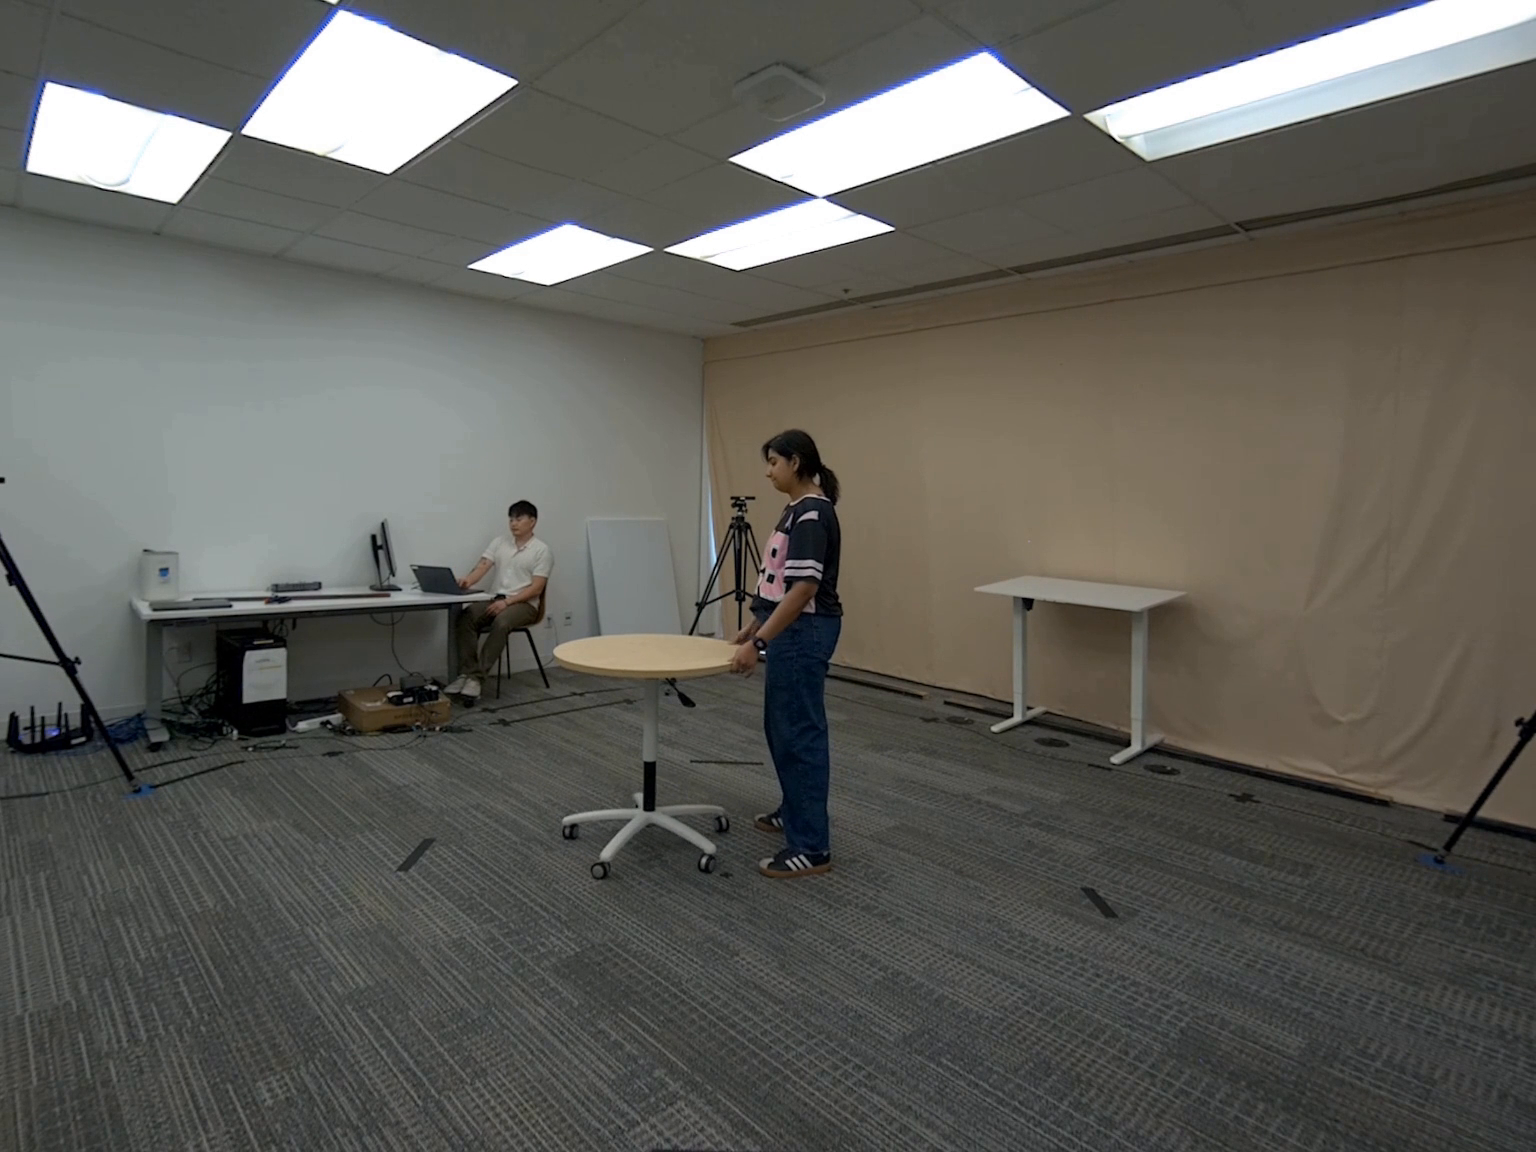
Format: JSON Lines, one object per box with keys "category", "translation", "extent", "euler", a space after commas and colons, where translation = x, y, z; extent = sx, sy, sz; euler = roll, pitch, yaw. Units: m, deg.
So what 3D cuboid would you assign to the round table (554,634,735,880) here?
{"category": "round table", "translation": [-0.472, 0.683, 3.344], "extent": [0.763, 0.792, 0.767], "euler": [1, 4, -1]}
